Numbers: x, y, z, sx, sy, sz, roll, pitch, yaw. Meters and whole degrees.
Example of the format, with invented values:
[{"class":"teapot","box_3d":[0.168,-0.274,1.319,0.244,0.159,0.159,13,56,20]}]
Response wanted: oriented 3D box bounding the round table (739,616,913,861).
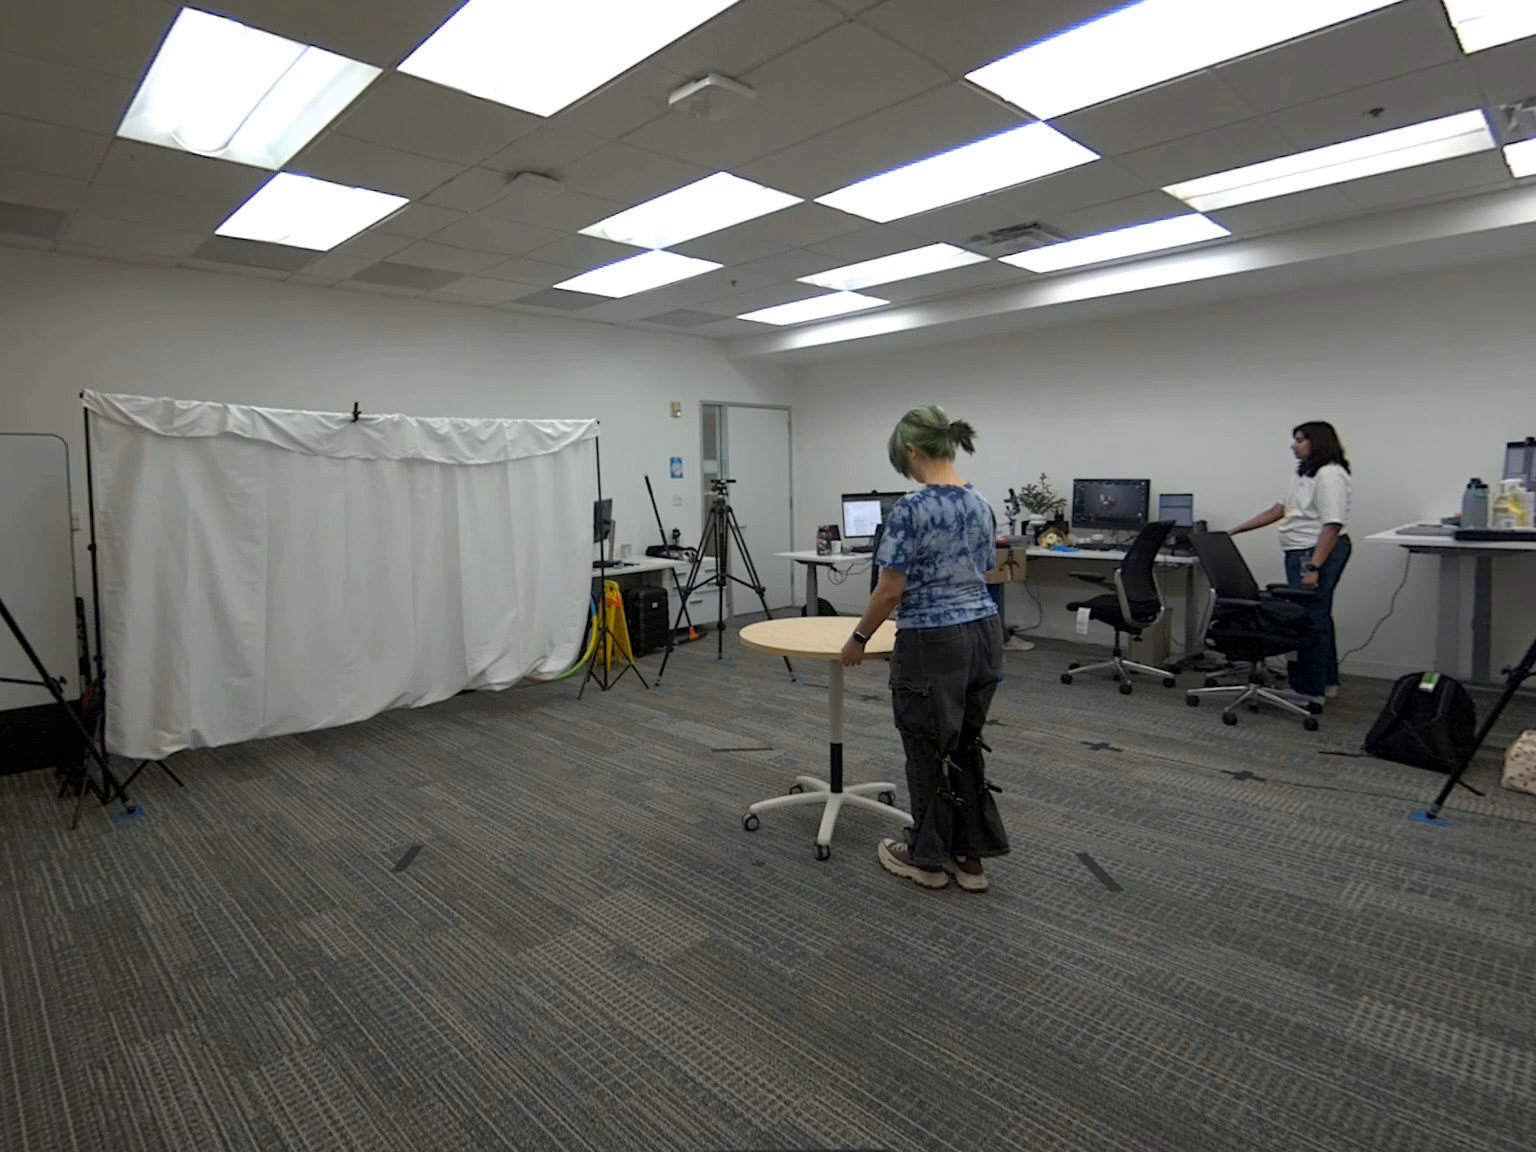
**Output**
[{"class":"round table","box_3d":[0.267,0.618,3.413,0.763,0.791,0.768,-1,5,-2]}]
